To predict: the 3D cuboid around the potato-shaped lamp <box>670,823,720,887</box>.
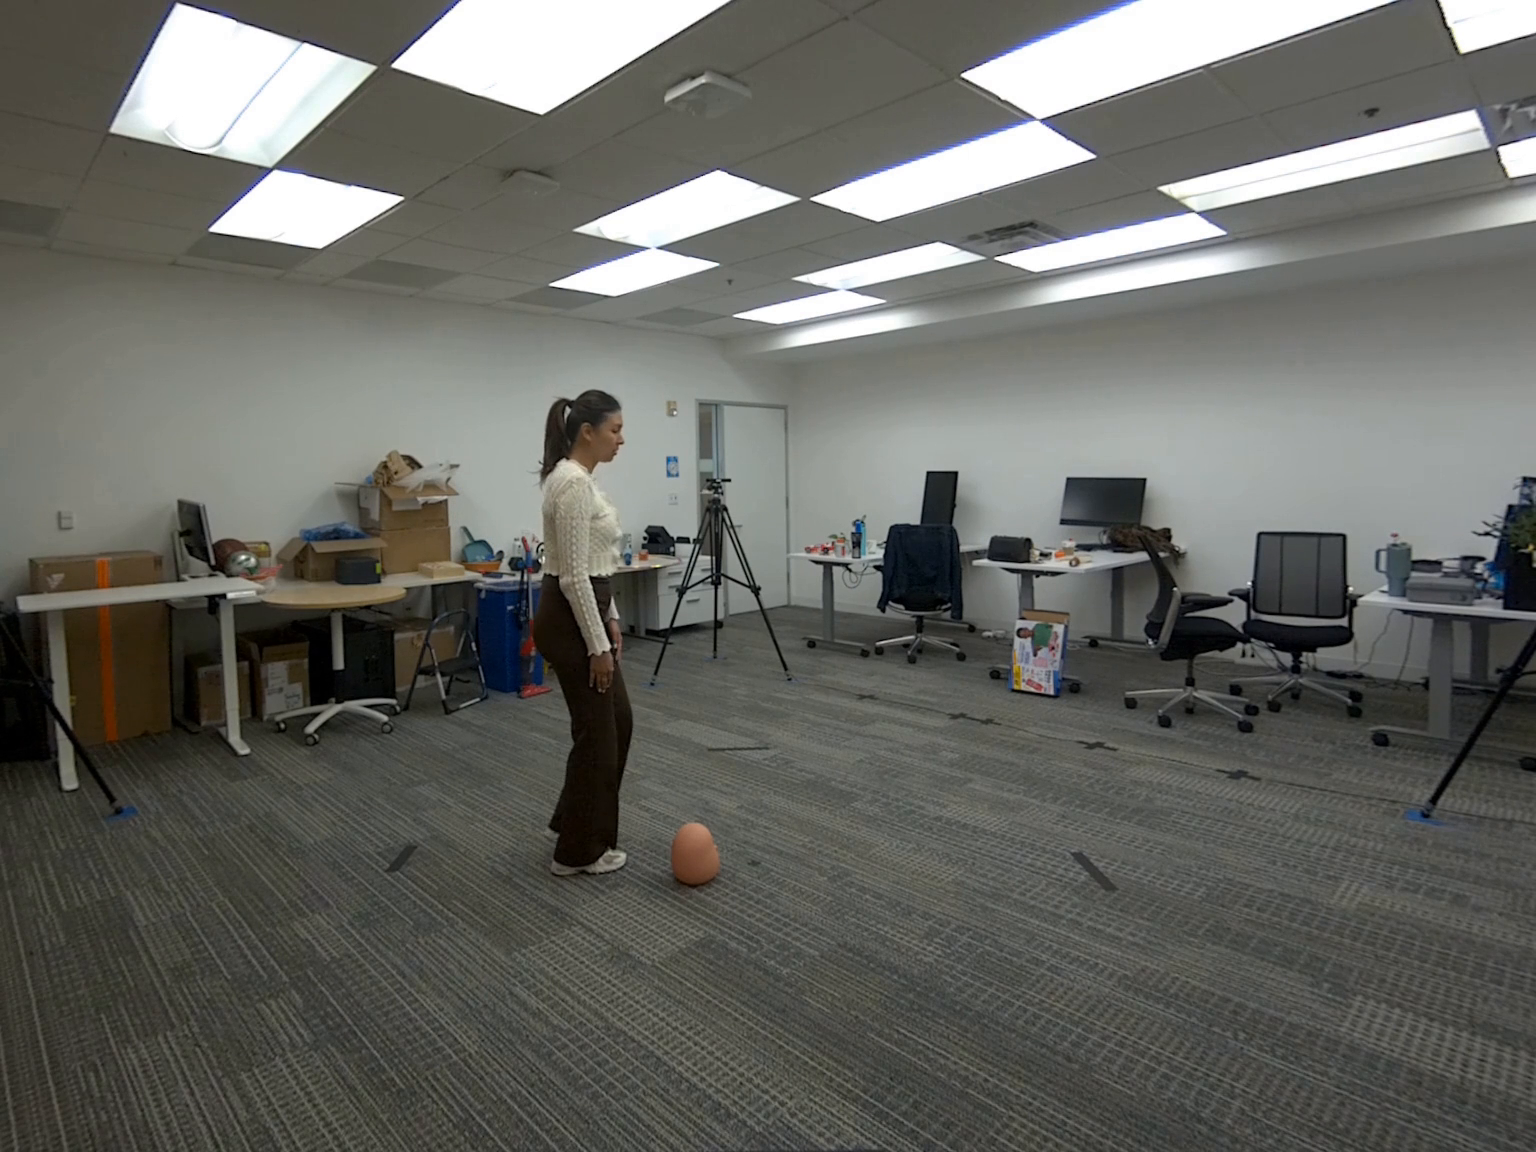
[{"bbox_3d":[-0.257,0.956,2.981,0.169,0.197,0.167,0,4,32],"label":"potato-shaped lamp"}]
